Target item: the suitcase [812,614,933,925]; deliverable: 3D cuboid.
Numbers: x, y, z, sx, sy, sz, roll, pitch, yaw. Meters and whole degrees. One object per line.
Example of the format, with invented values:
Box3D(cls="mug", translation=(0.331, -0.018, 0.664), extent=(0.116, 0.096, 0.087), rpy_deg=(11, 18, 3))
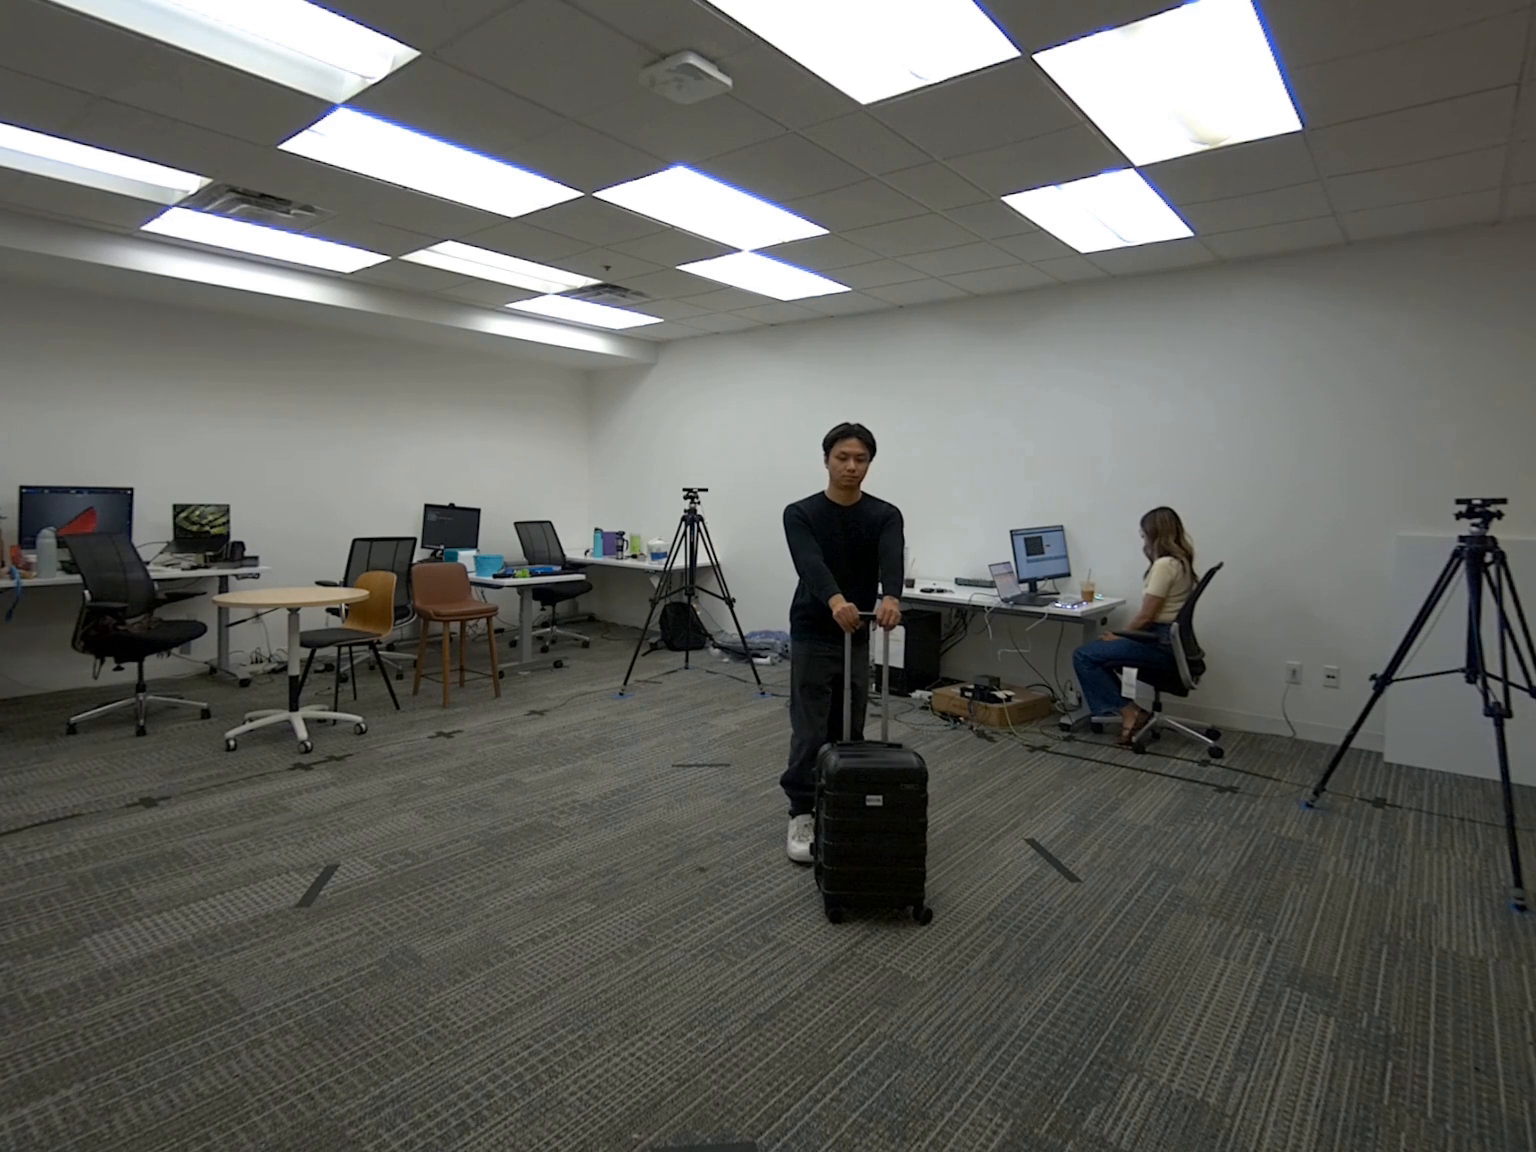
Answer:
Box3D(cls="suitcase", translation=(0.343, 0.633, 2.826), extent=(0.383, 0.974, 0.259), rpy_deg=(0, 5, -3))
